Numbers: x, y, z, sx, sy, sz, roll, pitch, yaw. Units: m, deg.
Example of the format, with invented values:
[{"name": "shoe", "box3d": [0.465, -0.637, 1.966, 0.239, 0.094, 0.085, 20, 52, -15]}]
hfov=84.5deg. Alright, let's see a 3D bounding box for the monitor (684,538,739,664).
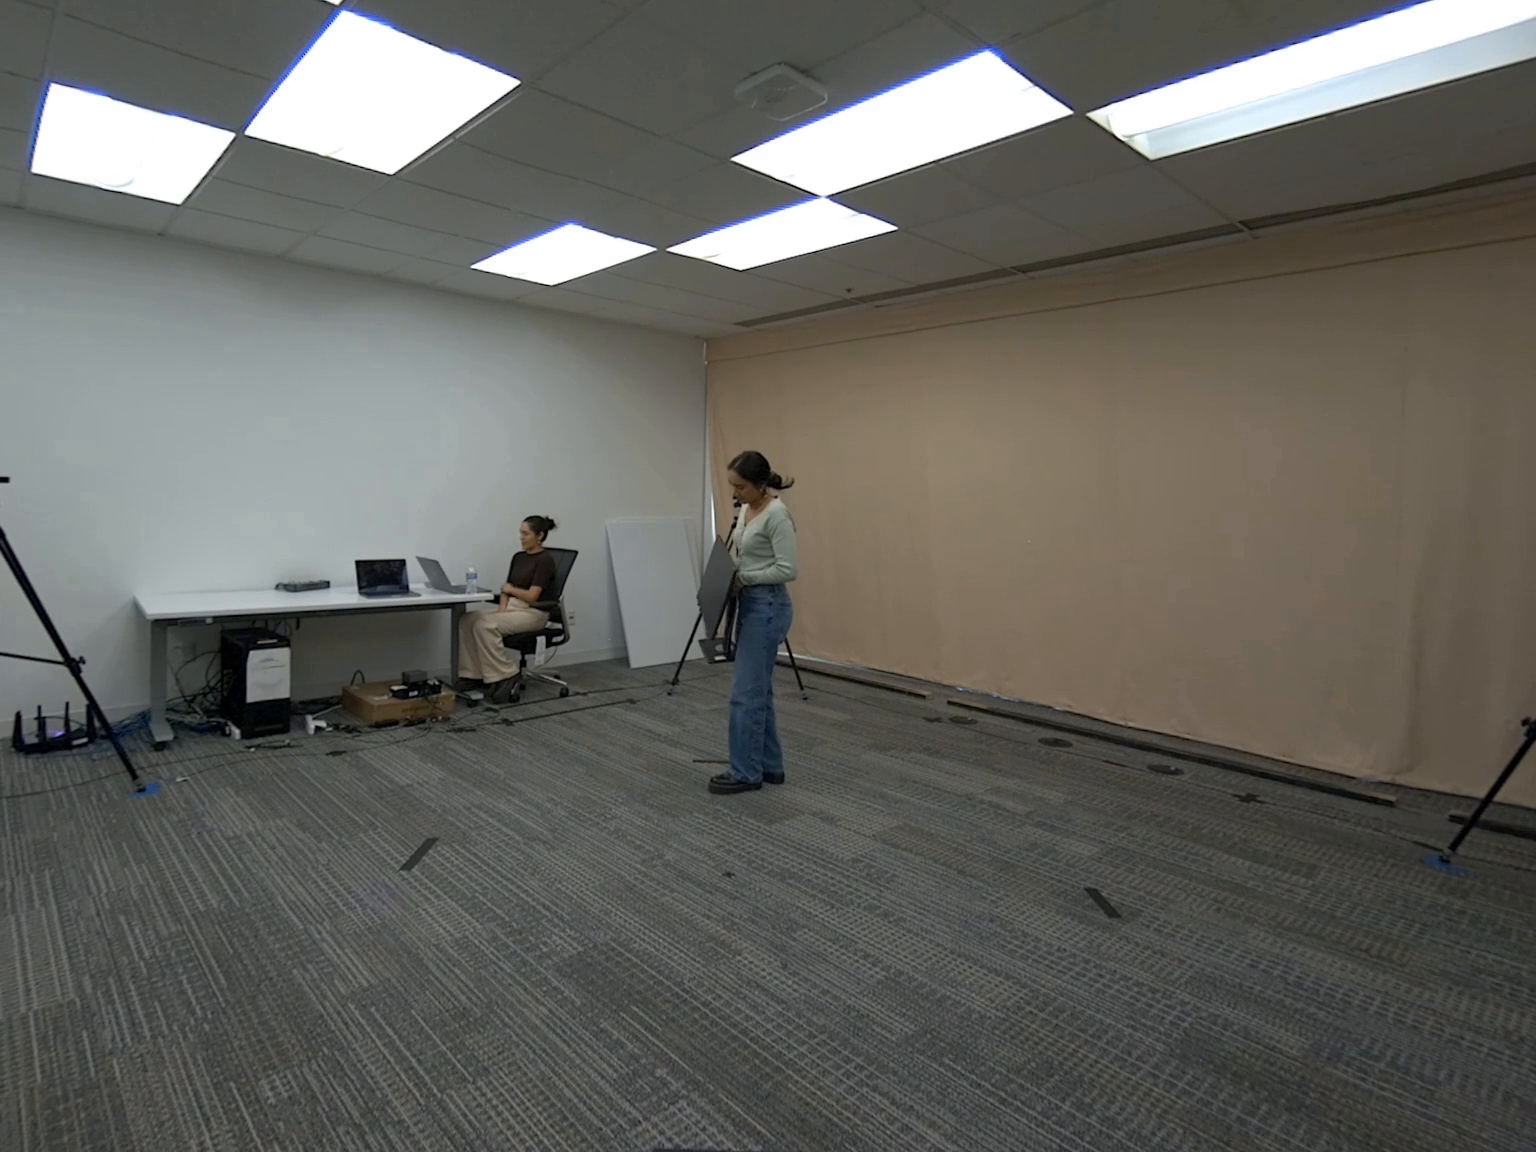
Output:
[{"name": "monitor", "box3d": [-0.244, 0.120, 4.043, 0.173, 0.509, 0.541, -2, 19, -11]}]
